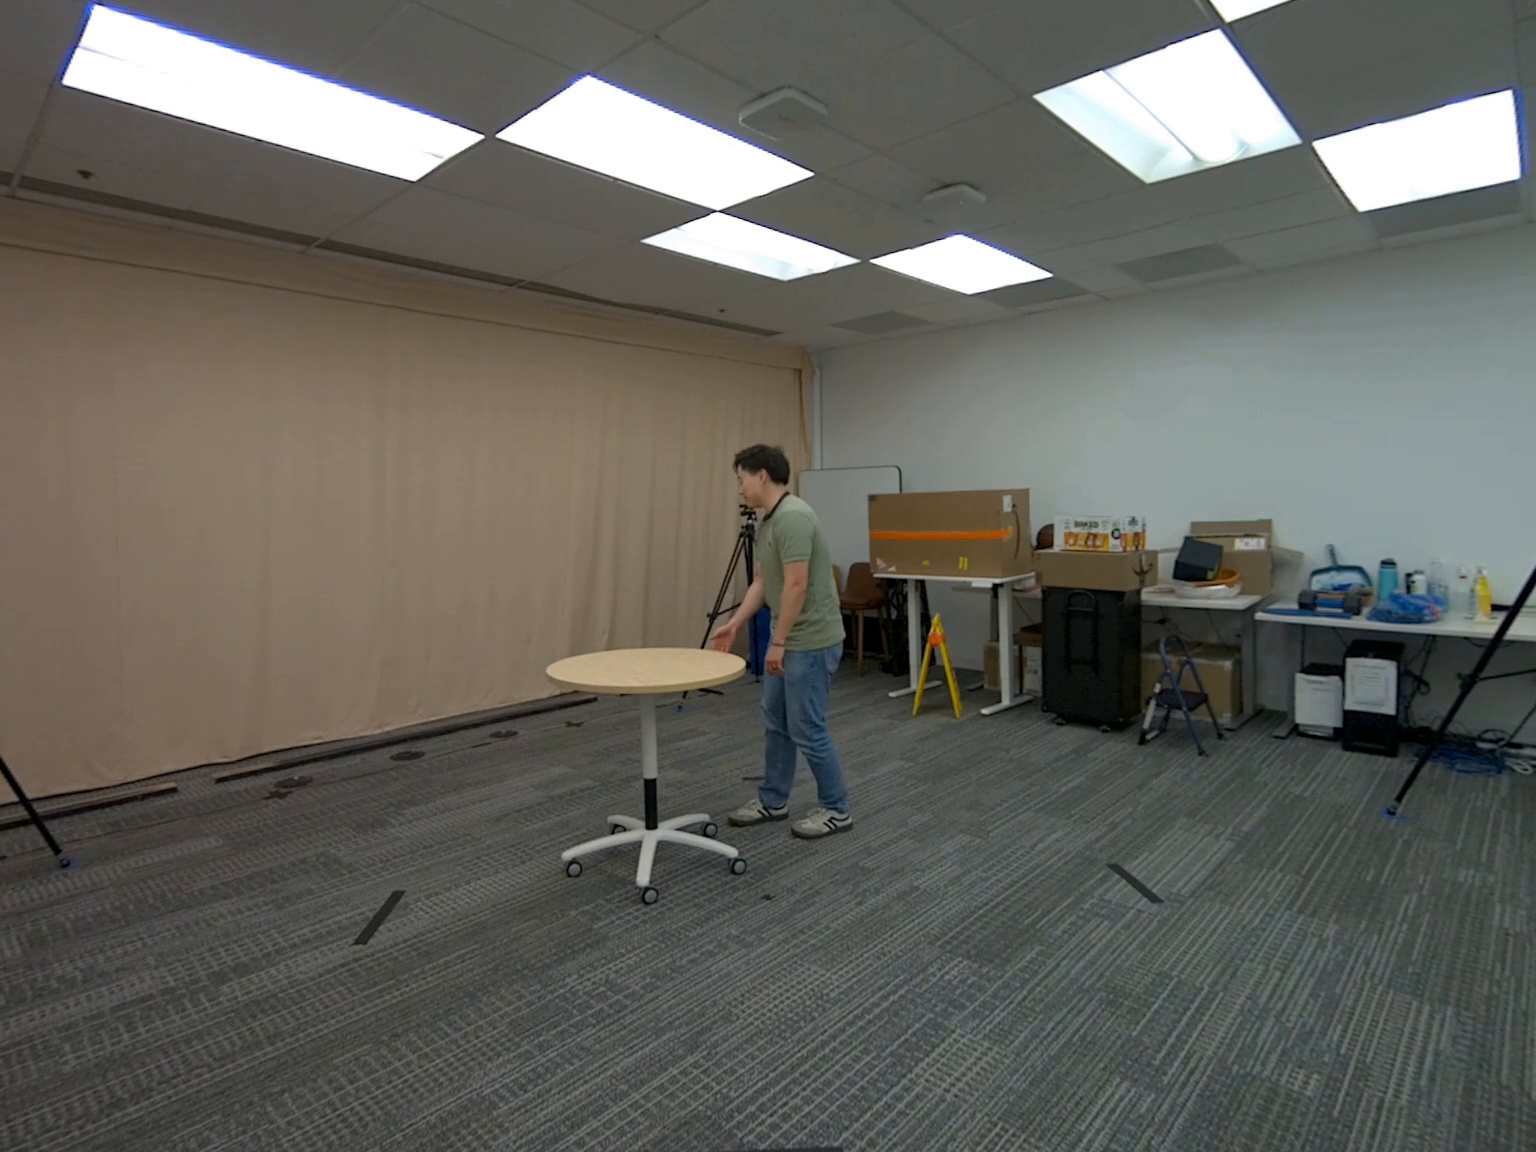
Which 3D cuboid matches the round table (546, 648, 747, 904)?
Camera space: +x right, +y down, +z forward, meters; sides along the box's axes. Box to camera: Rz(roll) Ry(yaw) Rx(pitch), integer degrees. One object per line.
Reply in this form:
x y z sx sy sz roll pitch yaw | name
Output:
-0.458 0.737 3.271 0.763 0.792 0.766 -1 4 -2 | round table
